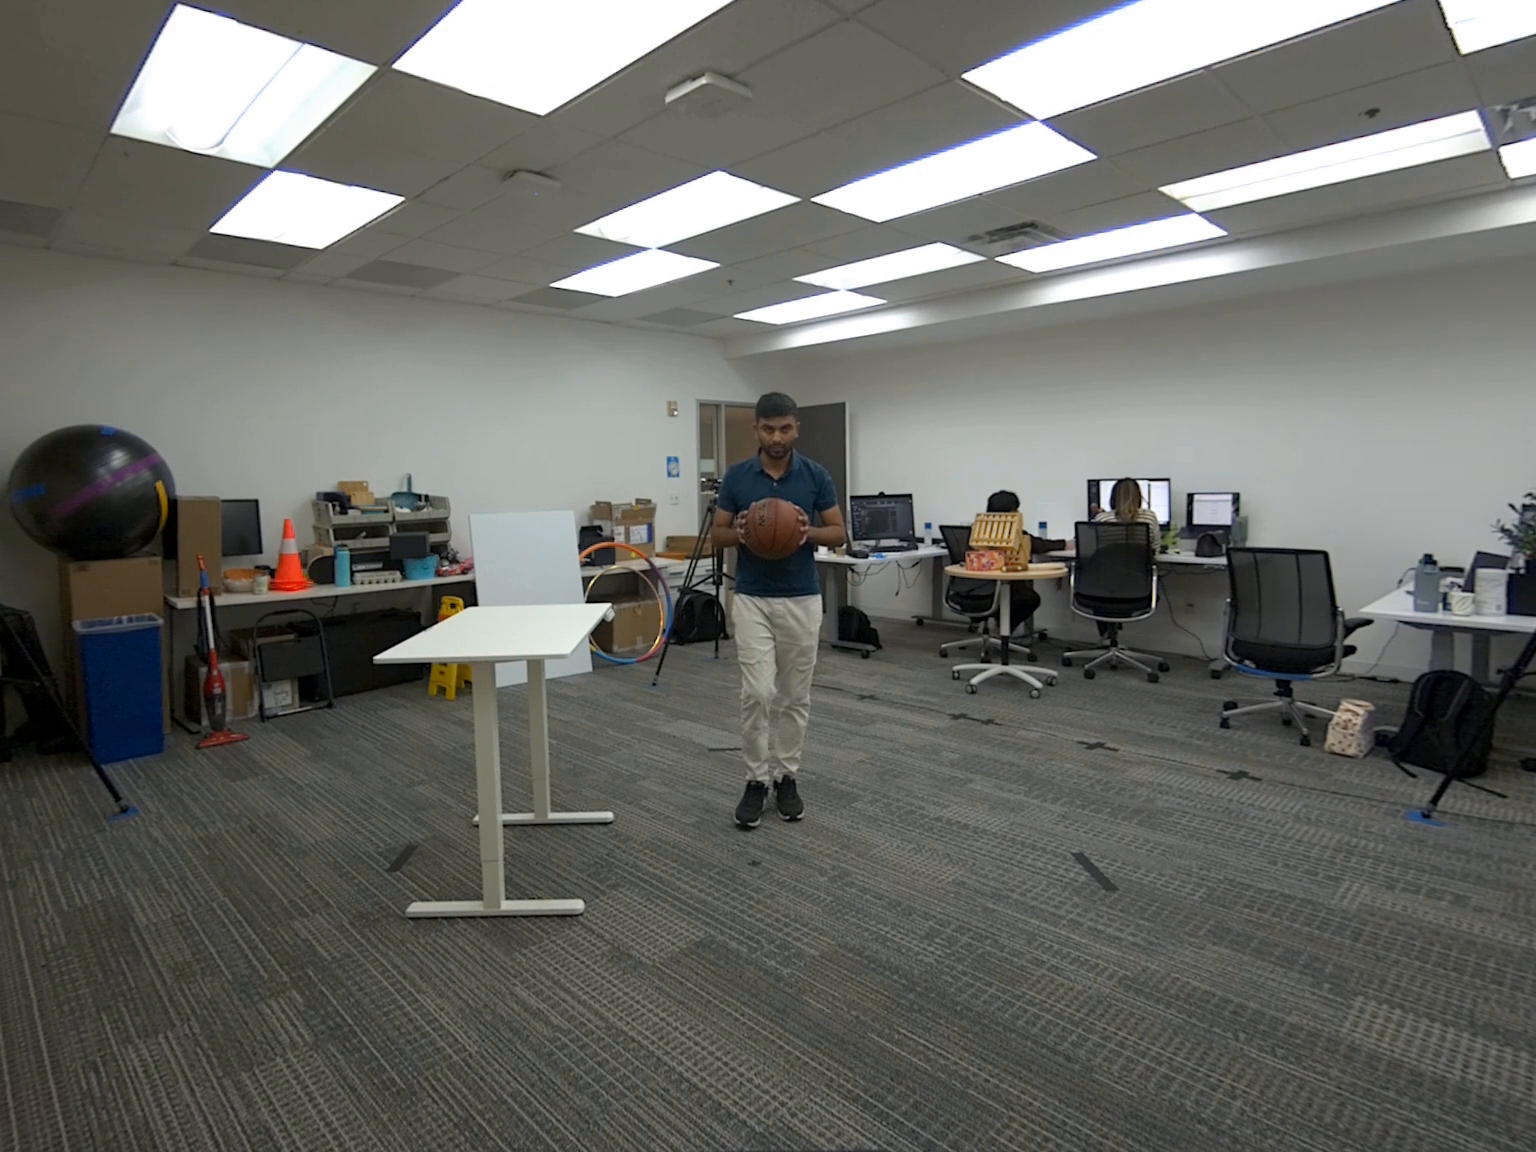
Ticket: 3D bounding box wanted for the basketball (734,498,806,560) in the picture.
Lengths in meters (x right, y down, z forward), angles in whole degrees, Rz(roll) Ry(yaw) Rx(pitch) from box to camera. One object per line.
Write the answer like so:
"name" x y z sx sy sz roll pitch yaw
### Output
"basketball" 0.016 -0.180 3.302 0.236 0.235 0.237 -1 5 -2
